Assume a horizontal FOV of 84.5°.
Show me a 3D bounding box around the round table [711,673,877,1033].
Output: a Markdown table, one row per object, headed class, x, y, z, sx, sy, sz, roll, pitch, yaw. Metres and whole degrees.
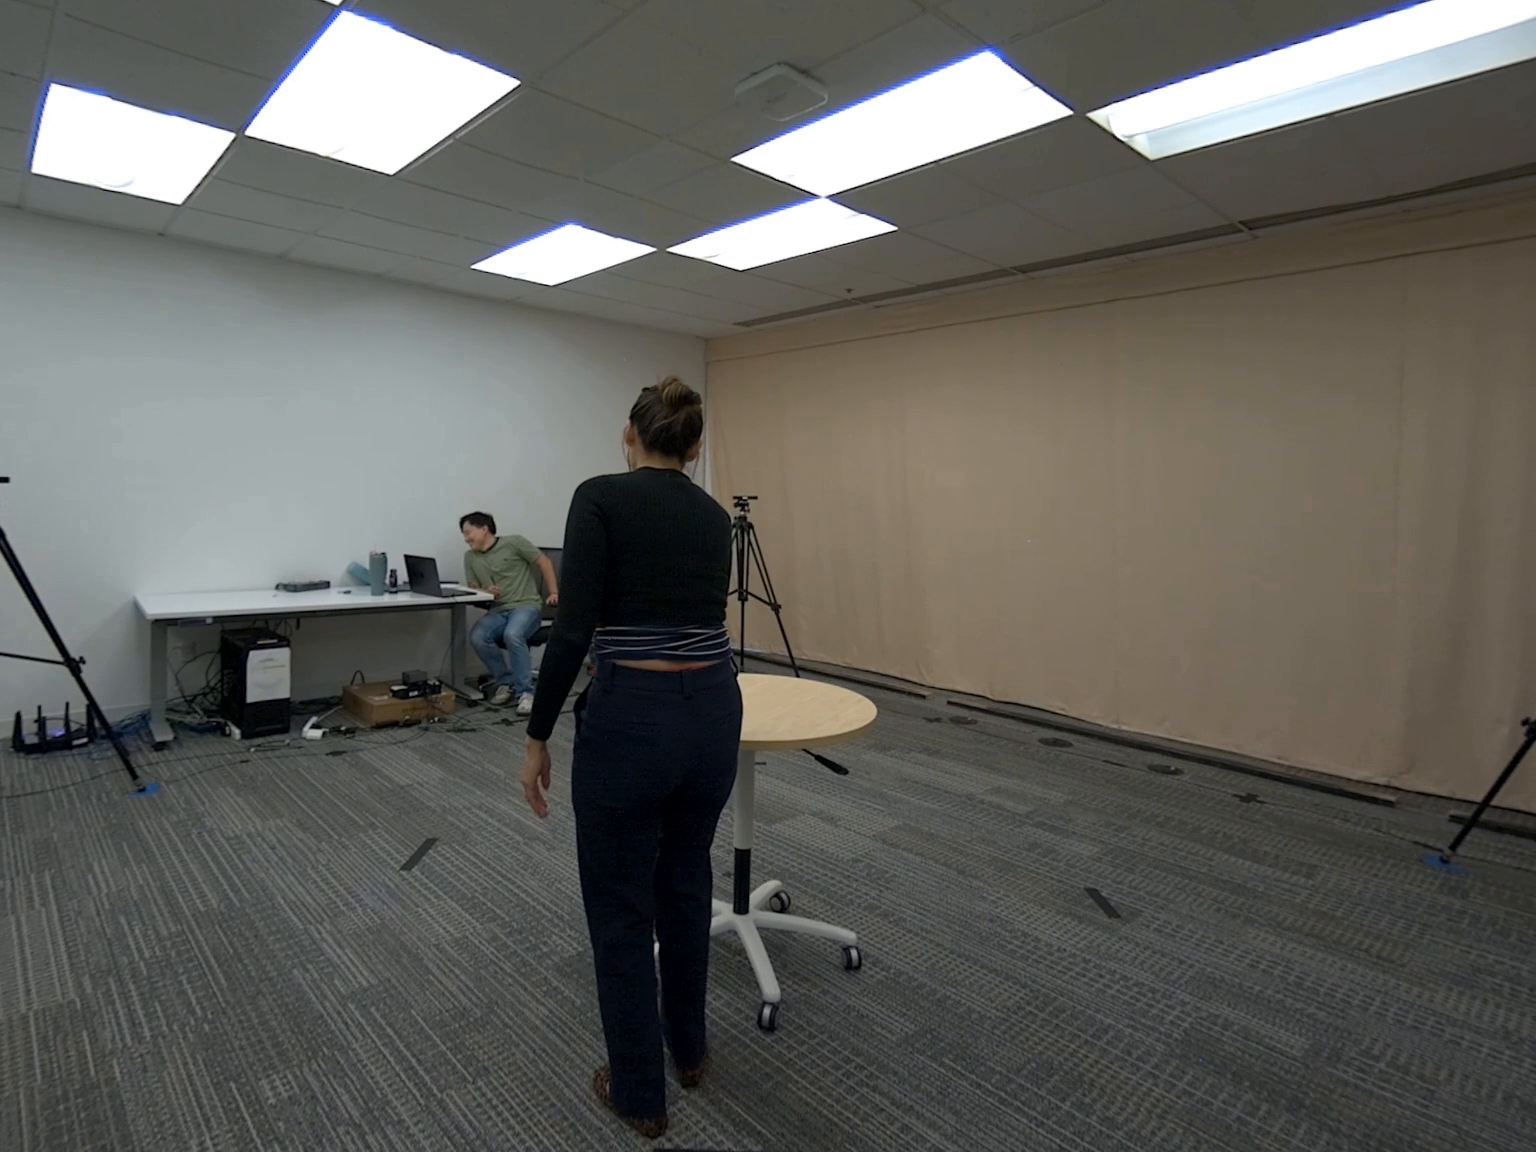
| class | x | y | z | sx | sy | sz | roll | pitch | yaw |
| --- | --- | --- | --- | --- | --- | --- | --- | --- | --- |
| round table | -0.081 | 0.770 | 2.530 | 0.763 | 0.791 | 0.767 | 1 | 5 | -1 |
